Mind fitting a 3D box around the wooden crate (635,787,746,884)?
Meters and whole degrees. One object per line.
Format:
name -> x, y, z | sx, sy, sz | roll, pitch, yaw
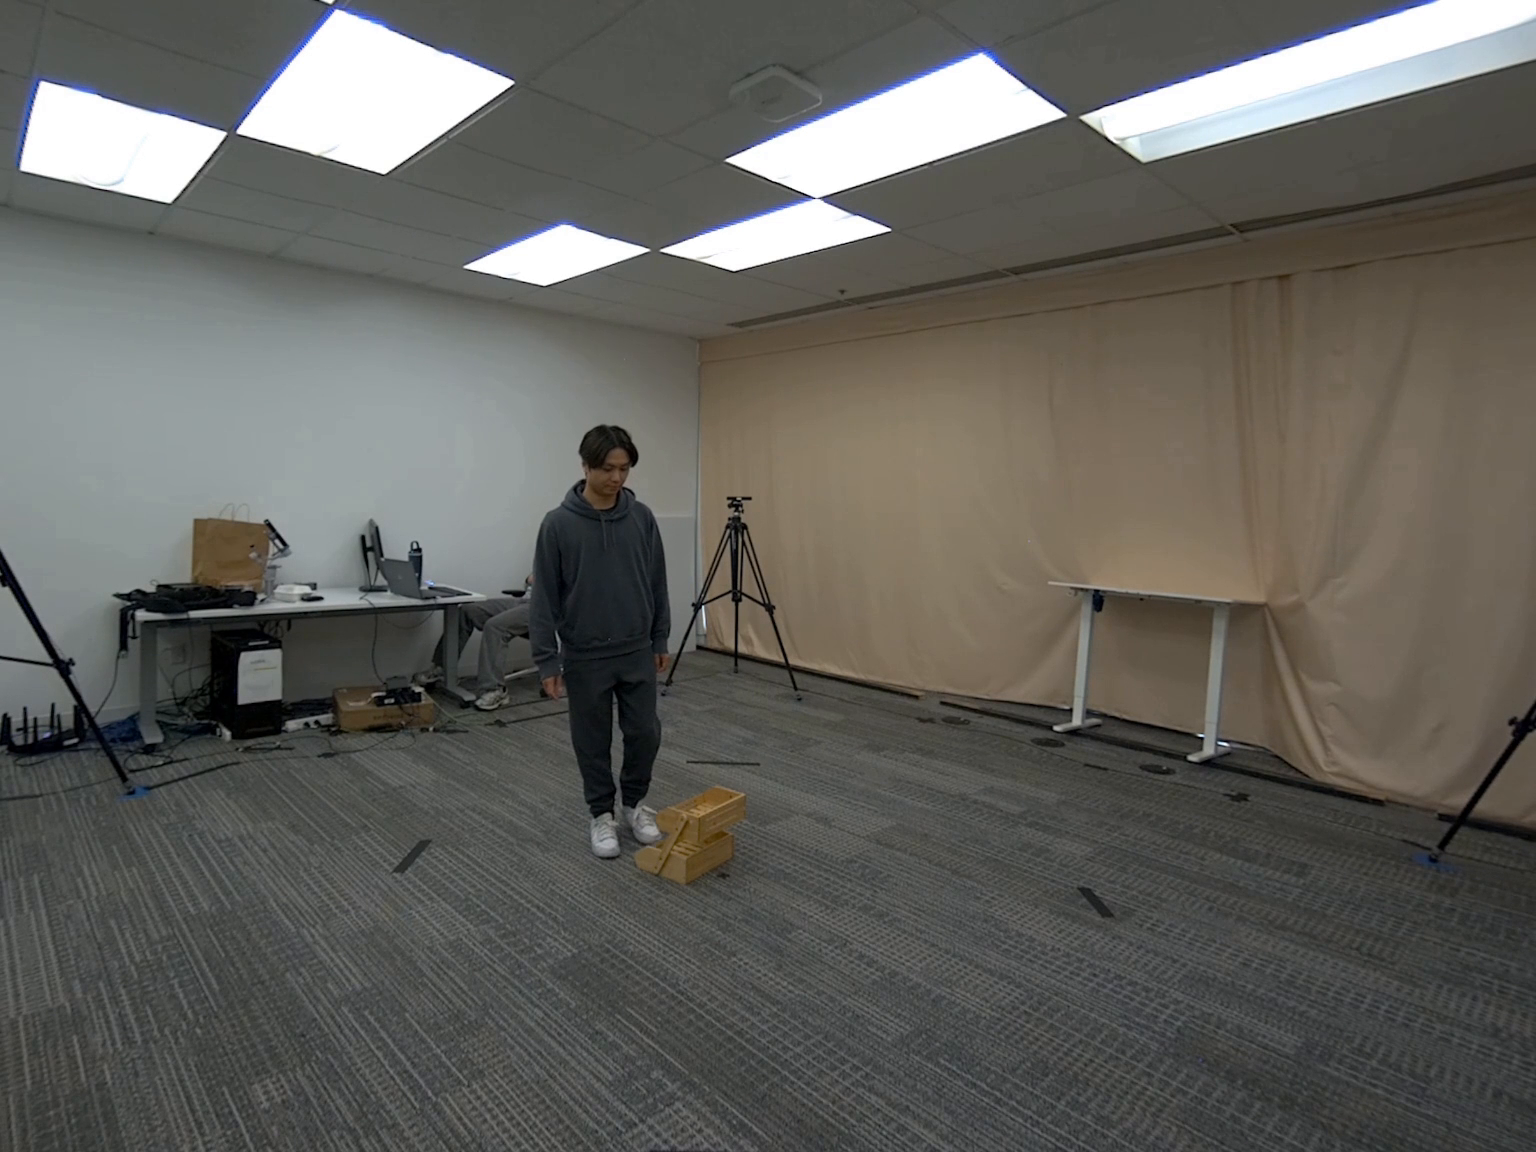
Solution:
wooden crate -> -0.302, 0.963, 3.194 | 0.309, 0.272, 0.318 | 5, 5, 34
